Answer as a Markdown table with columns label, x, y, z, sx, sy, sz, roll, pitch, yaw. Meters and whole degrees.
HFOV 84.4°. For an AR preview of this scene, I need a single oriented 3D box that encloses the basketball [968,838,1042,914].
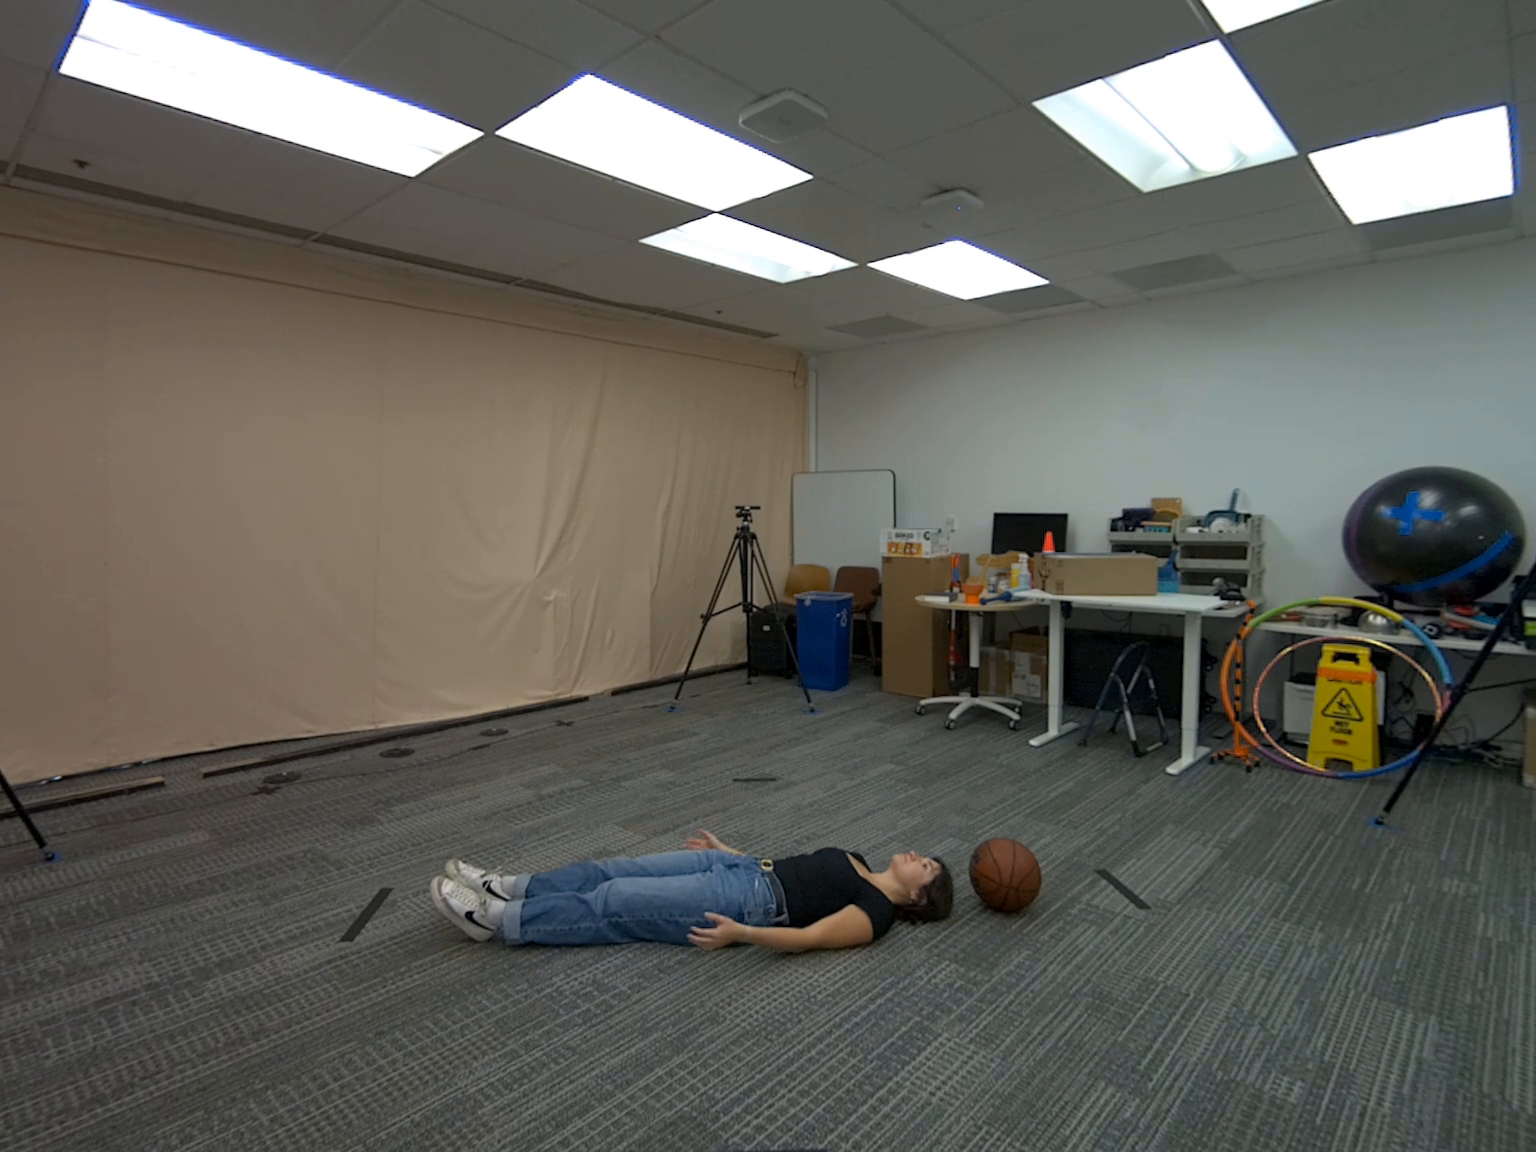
| label | x | y | z | sx | sy | sz | roll | pitch | yaw |
| --- | --- | --- | --- | --- | --- | --- | --- | --- | --- |
| basketball | 0.829 | 1.031 | 2.909 | 0.236 | 0.235 | 0.237 | 0 | 4 | -2 |
